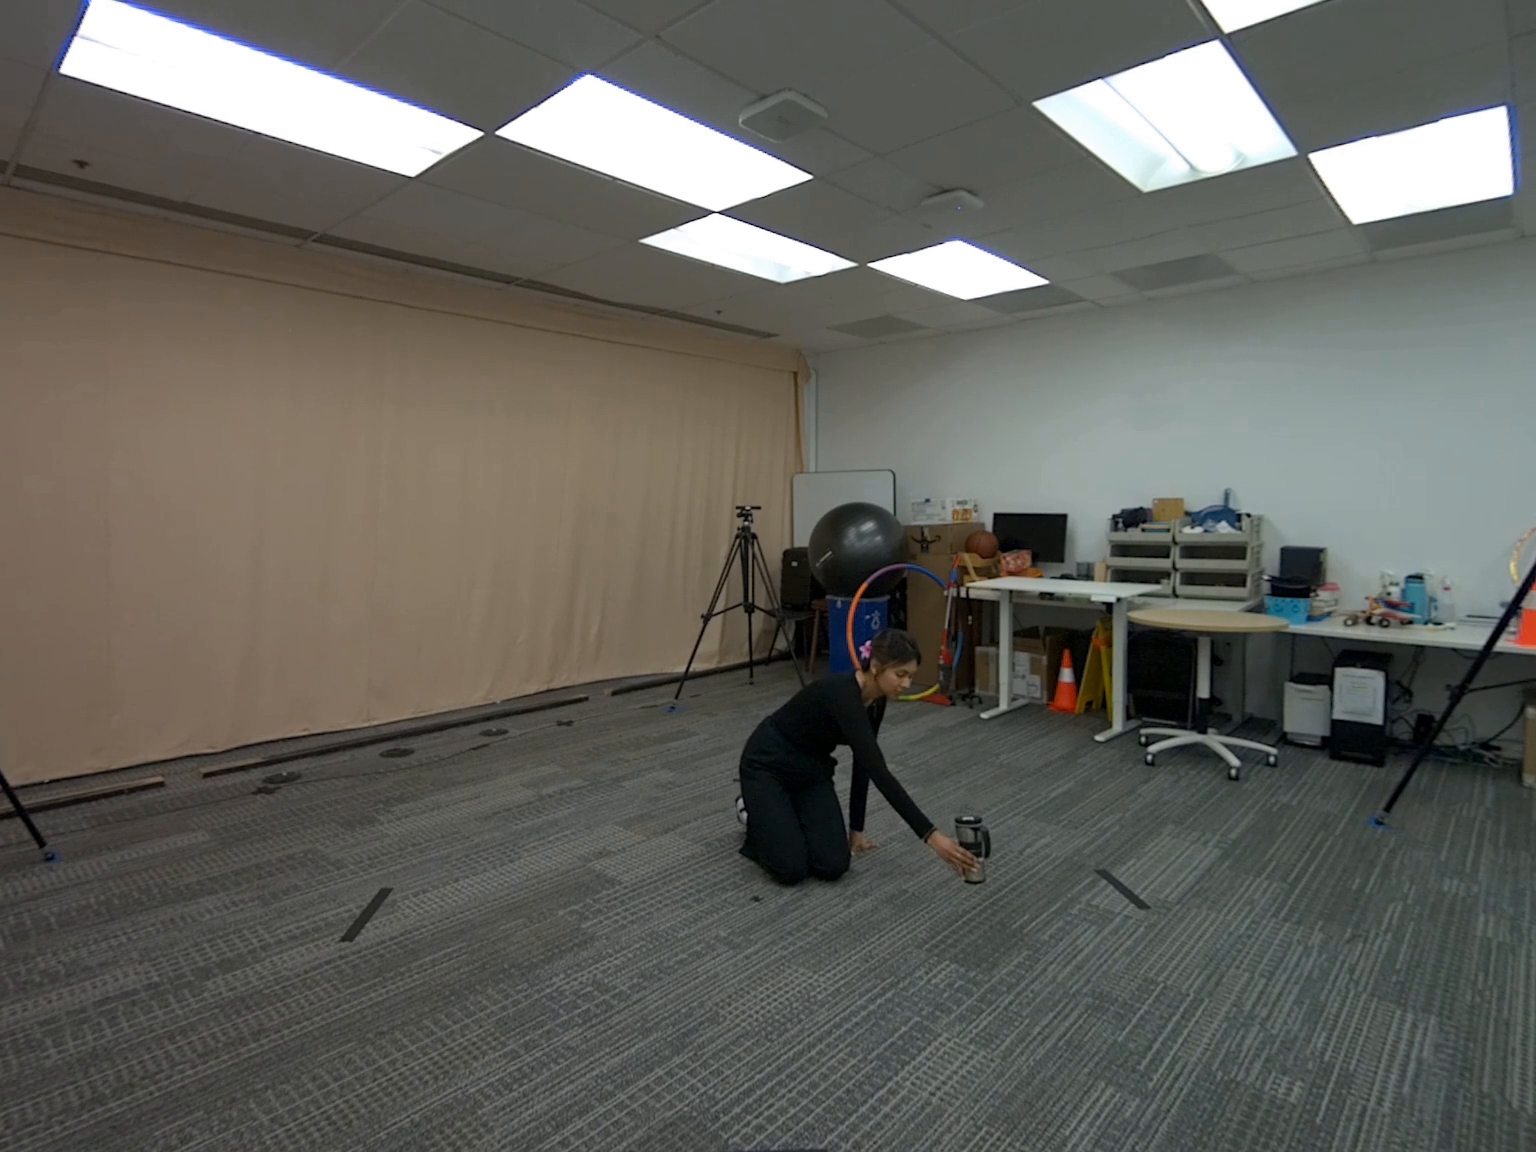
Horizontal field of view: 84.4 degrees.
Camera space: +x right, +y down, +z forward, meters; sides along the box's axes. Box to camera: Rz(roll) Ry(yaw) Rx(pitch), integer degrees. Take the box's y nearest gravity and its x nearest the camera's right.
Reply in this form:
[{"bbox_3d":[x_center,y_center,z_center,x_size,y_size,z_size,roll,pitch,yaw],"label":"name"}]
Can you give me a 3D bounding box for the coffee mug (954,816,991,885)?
[{"bbox_3d":[0.670,0.896,2.712,0.086,0.204,0.124,-1,-7,-20],"label":"coffee mug"}]
